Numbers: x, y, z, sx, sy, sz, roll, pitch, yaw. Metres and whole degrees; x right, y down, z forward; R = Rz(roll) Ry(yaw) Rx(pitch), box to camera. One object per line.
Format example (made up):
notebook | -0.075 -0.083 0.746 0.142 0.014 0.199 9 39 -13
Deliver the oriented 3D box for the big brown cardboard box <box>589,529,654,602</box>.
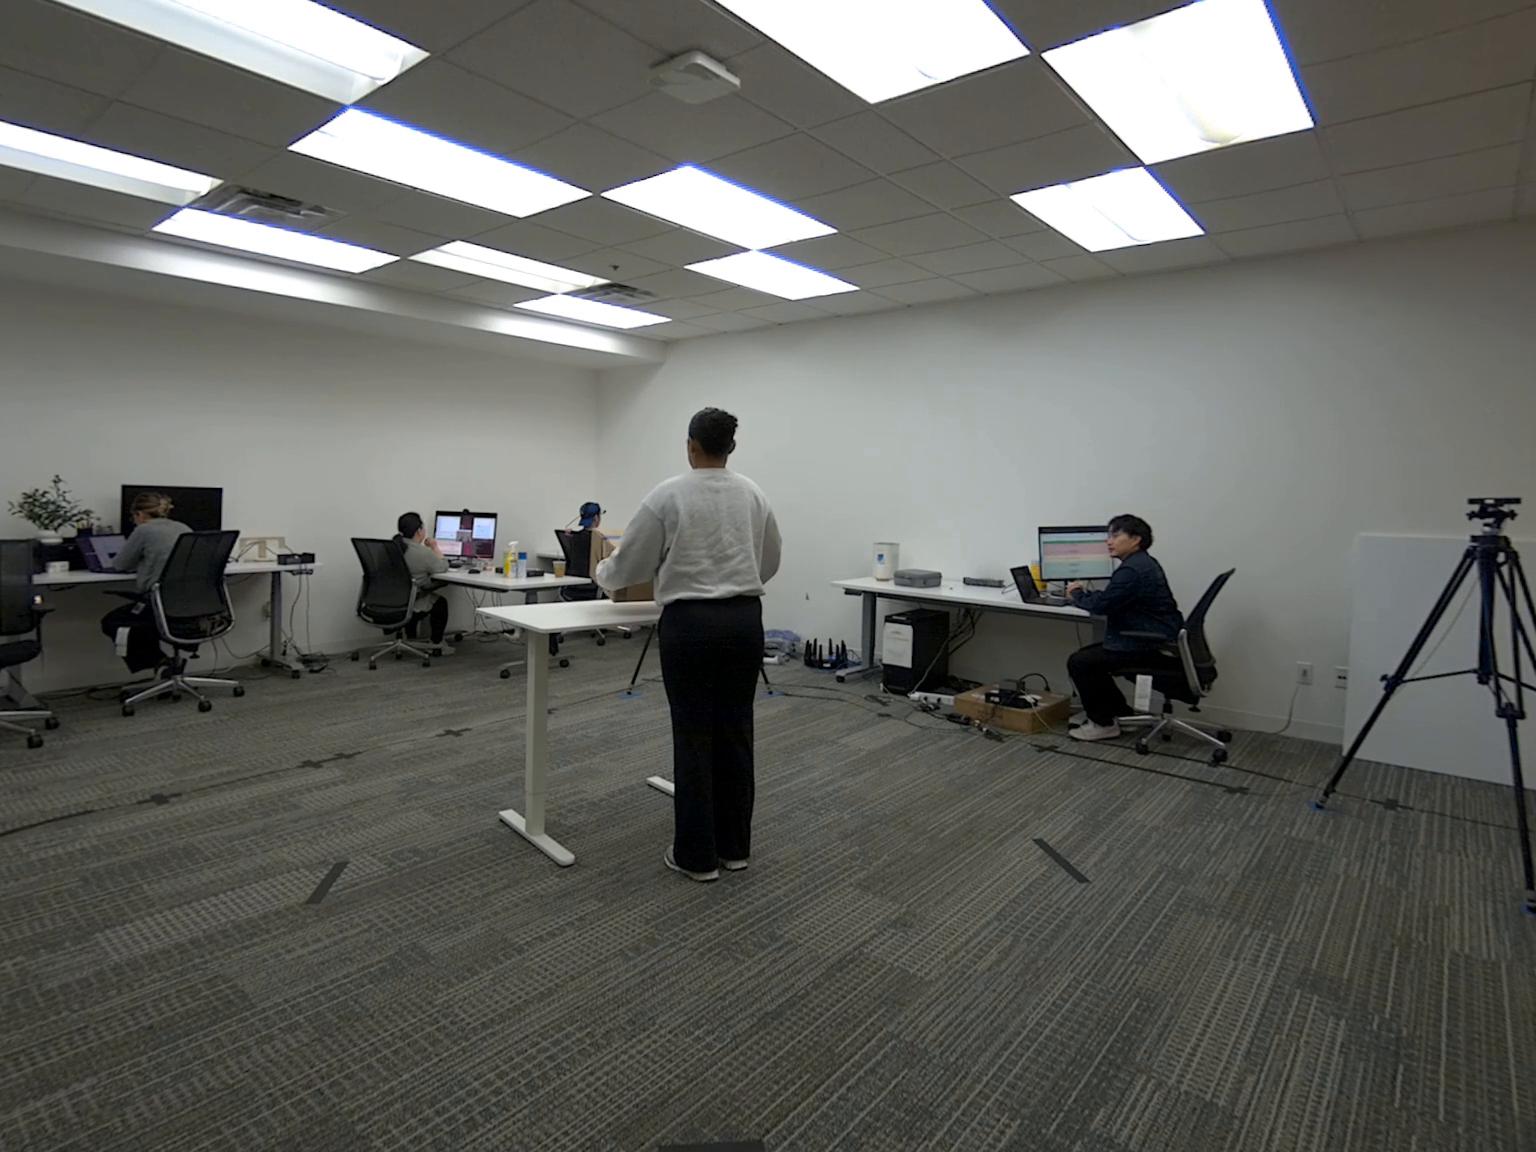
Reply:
big brown cardboard box | -0.417 -0.058 3.556 0.576 0.230 0.431 -2 14 -23
